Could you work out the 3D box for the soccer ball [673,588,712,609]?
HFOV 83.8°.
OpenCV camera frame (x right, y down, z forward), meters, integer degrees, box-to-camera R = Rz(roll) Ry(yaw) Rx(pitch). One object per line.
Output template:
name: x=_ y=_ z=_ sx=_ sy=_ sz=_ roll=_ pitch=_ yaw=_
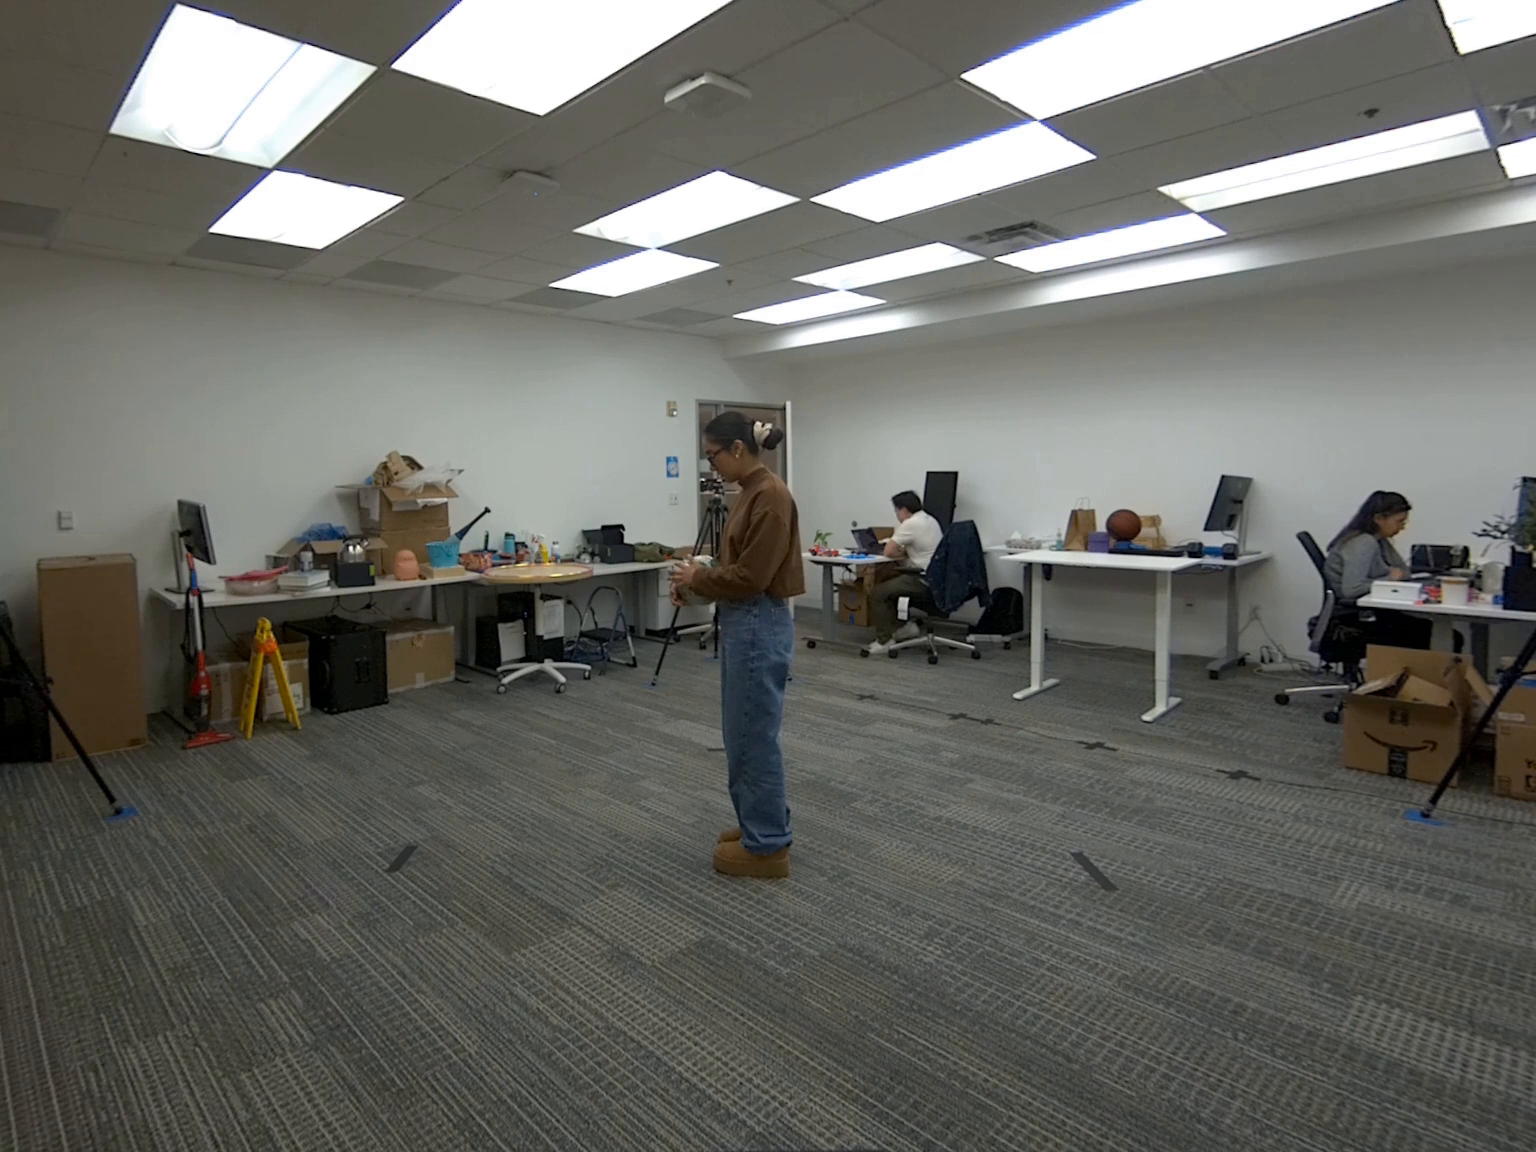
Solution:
soccer ball: x=-0.221 y=0.018 z=3.162 sx=0.187 sy=0.187 sz=0.188 roll=-1 pitch=5 yaw=-2
